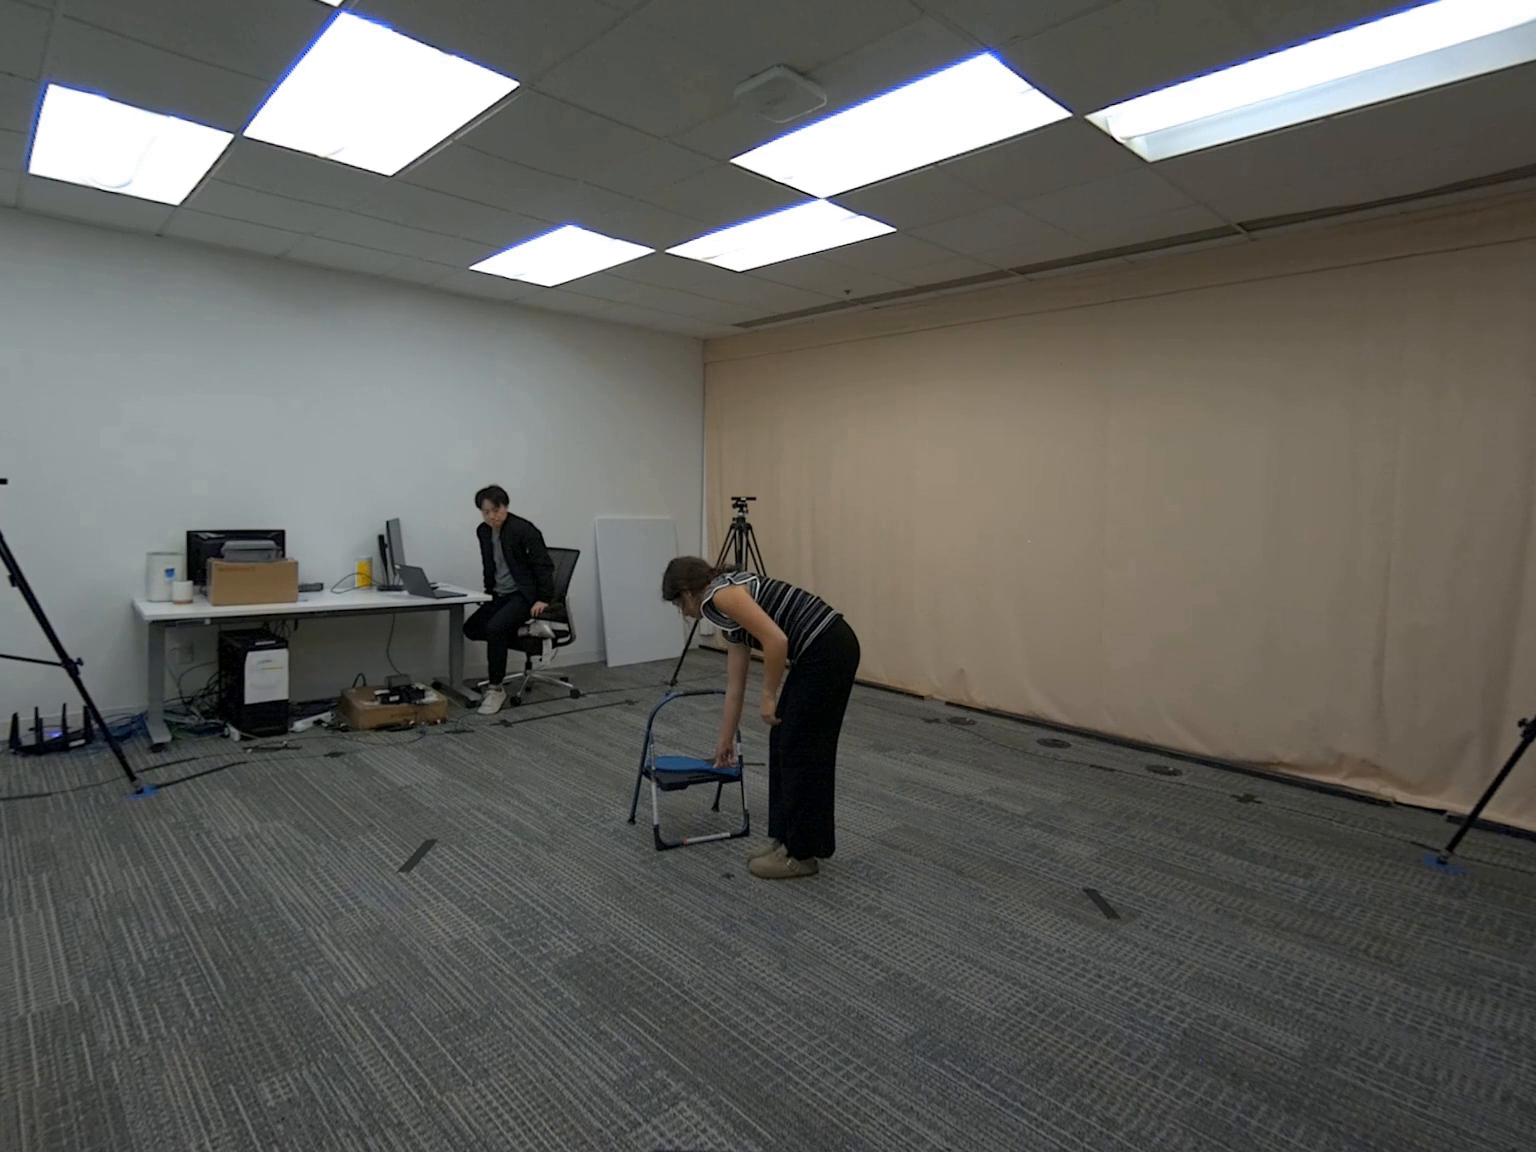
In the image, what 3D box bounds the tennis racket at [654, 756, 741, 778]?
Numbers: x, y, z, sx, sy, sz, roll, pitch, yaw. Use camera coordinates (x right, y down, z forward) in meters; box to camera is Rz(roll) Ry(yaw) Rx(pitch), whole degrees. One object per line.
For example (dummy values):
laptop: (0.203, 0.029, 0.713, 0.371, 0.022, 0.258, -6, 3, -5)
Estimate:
tennis racket: (-0.312, 0.795, 3.510, 0.440, 0.032, 0.210, 1, 1, 21)
